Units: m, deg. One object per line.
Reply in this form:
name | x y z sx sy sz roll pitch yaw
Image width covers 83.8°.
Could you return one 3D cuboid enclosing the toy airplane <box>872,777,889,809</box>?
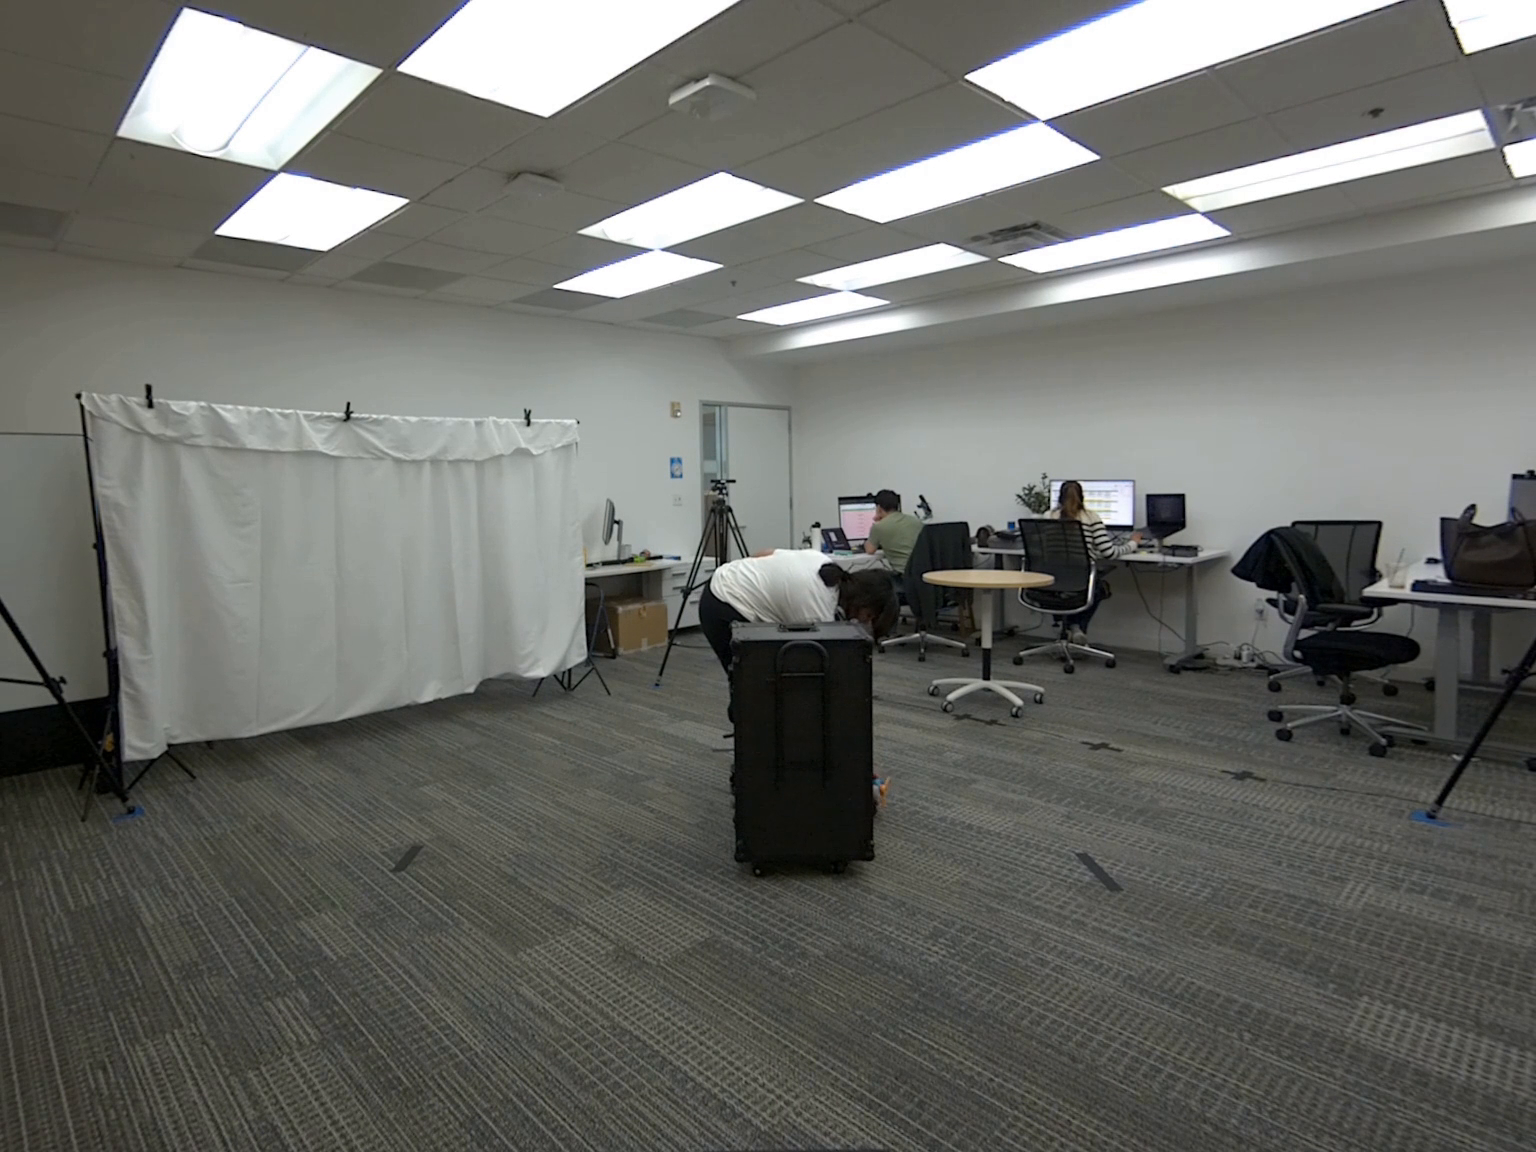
toy airplane | 0.372 0.877 3.557 0.263 0.157 0.247 28 -18 9
